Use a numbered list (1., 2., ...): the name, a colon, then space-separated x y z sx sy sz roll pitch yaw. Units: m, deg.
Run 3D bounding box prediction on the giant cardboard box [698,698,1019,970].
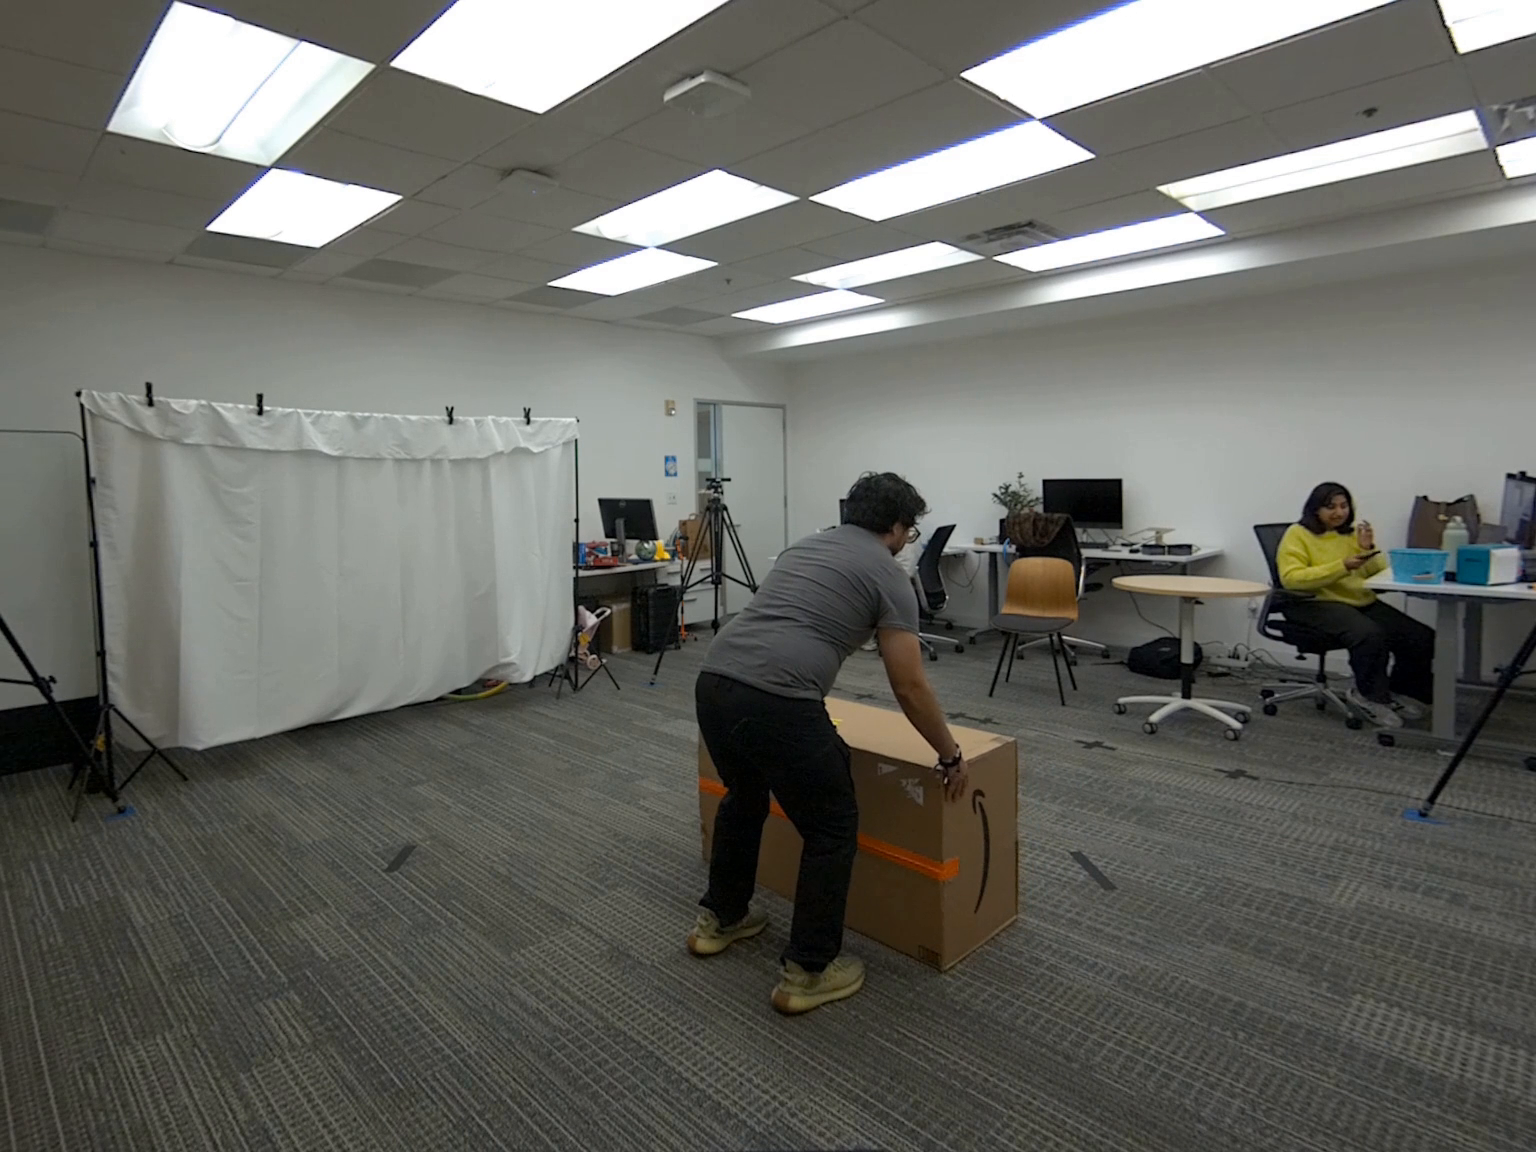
1. giant cardboard box: 0.268 0.775 2.898 0.415 0.575 1.058 -5 7 -44
